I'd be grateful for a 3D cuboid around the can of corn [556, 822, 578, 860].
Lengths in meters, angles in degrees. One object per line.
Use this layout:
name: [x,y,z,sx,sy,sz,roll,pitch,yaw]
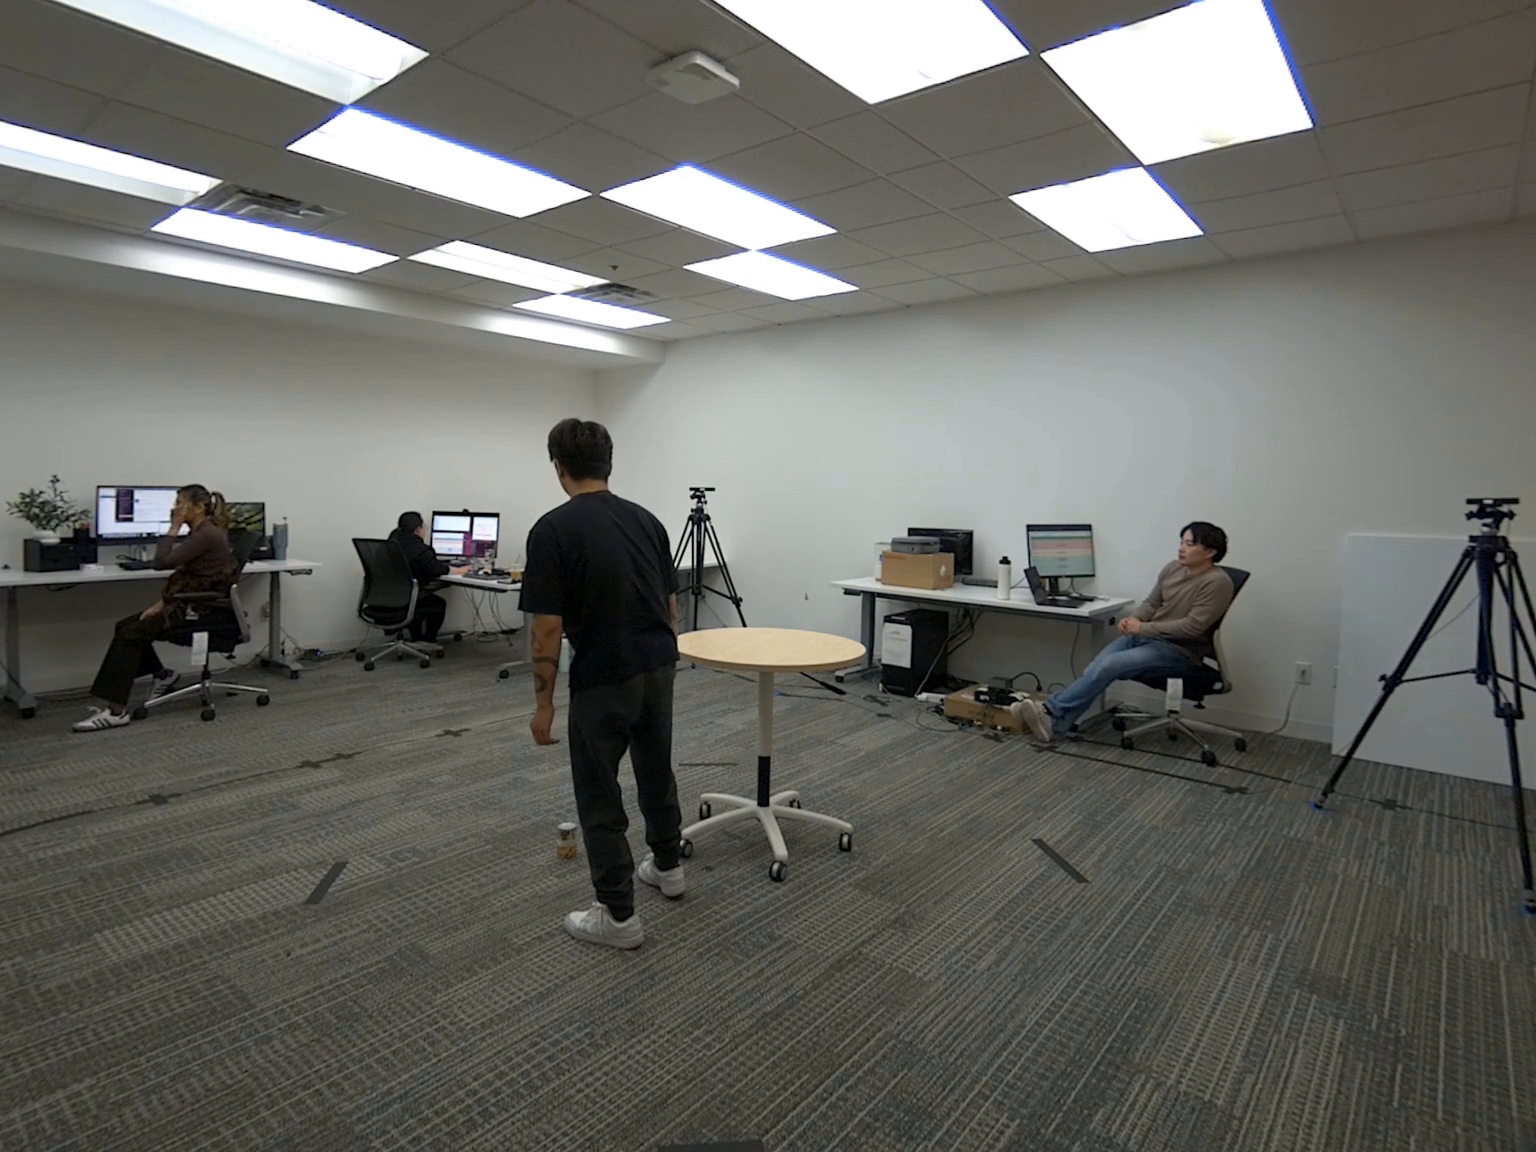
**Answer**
can of corn: [-0.772,0.998,3.198,0.074,0.111,0.074,1,4,-2]
